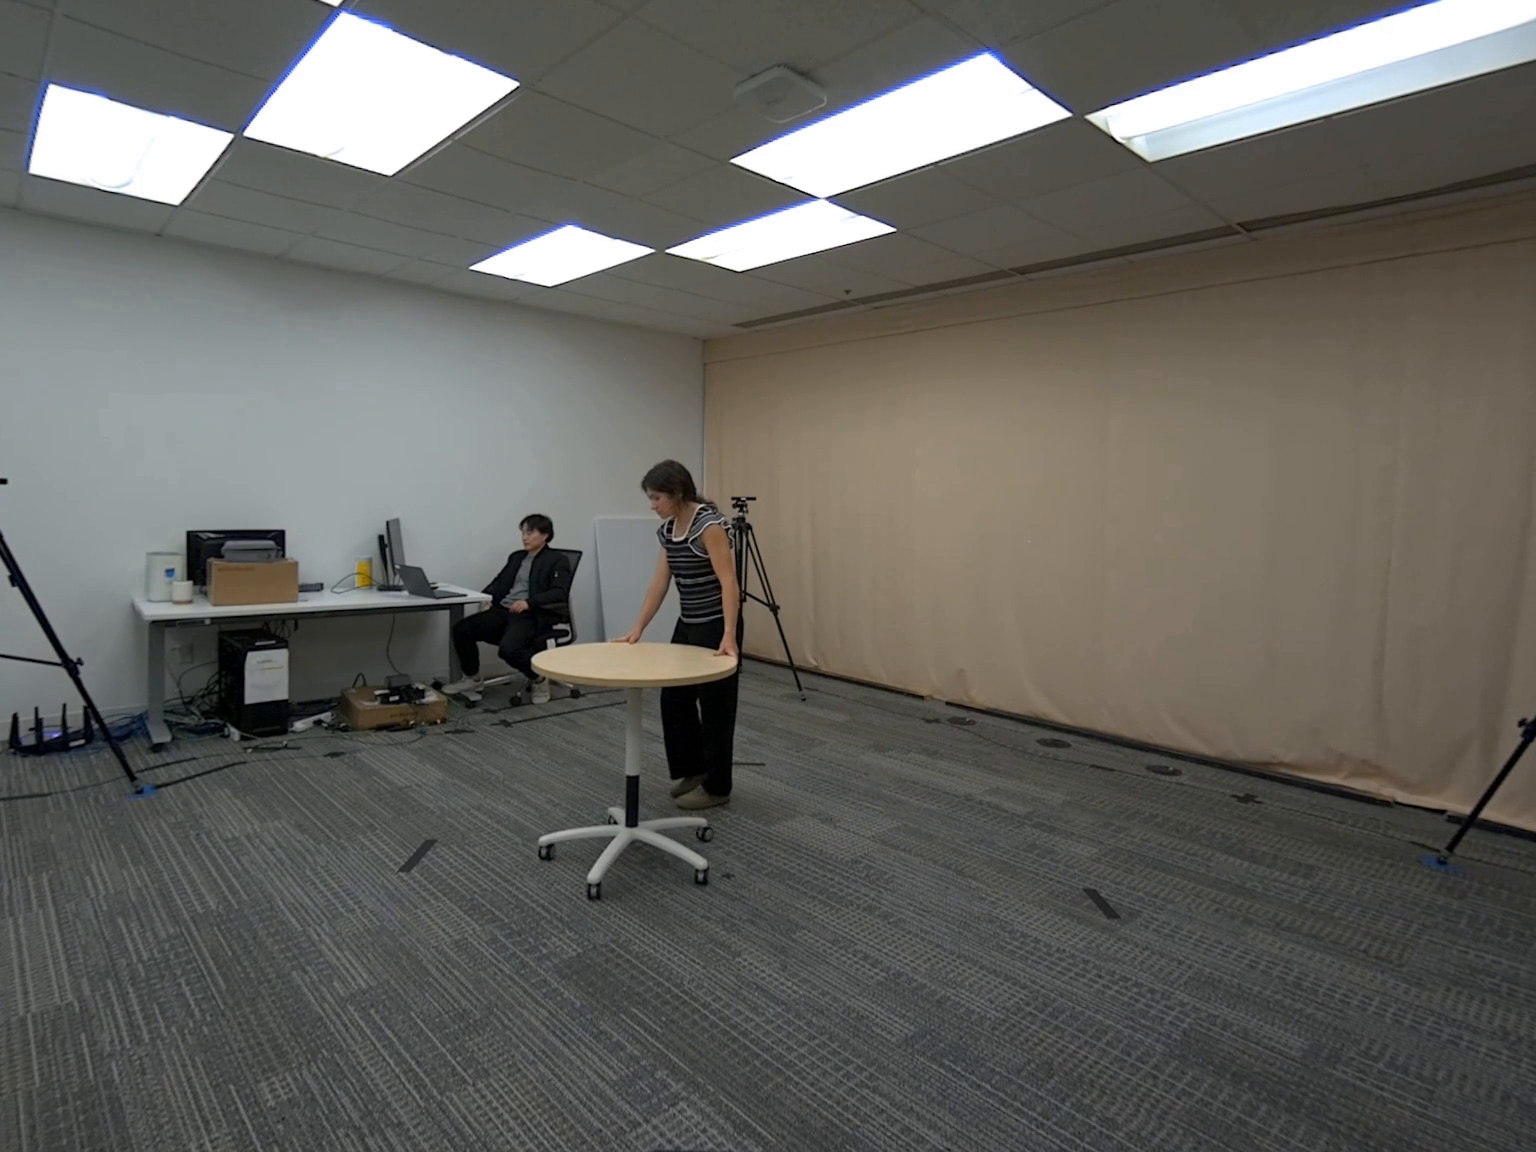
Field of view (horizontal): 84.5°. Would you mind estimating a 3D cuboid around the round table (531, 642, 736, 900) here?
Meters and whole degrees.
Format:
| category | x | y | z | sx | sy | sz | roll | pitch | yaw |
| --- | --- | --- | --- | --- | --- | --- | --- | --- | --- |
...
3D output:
| category | x | y | z | sx | sy | sz | roll | pitch | yaw |
| --- | --- | --- | --- | --- | --- | --- | --- | --- | --- |
| round table | -0.520 | 0.705 | 3.183 | 0.763 | 0.792 | 0.766 | 1 | 4 | -1 |
